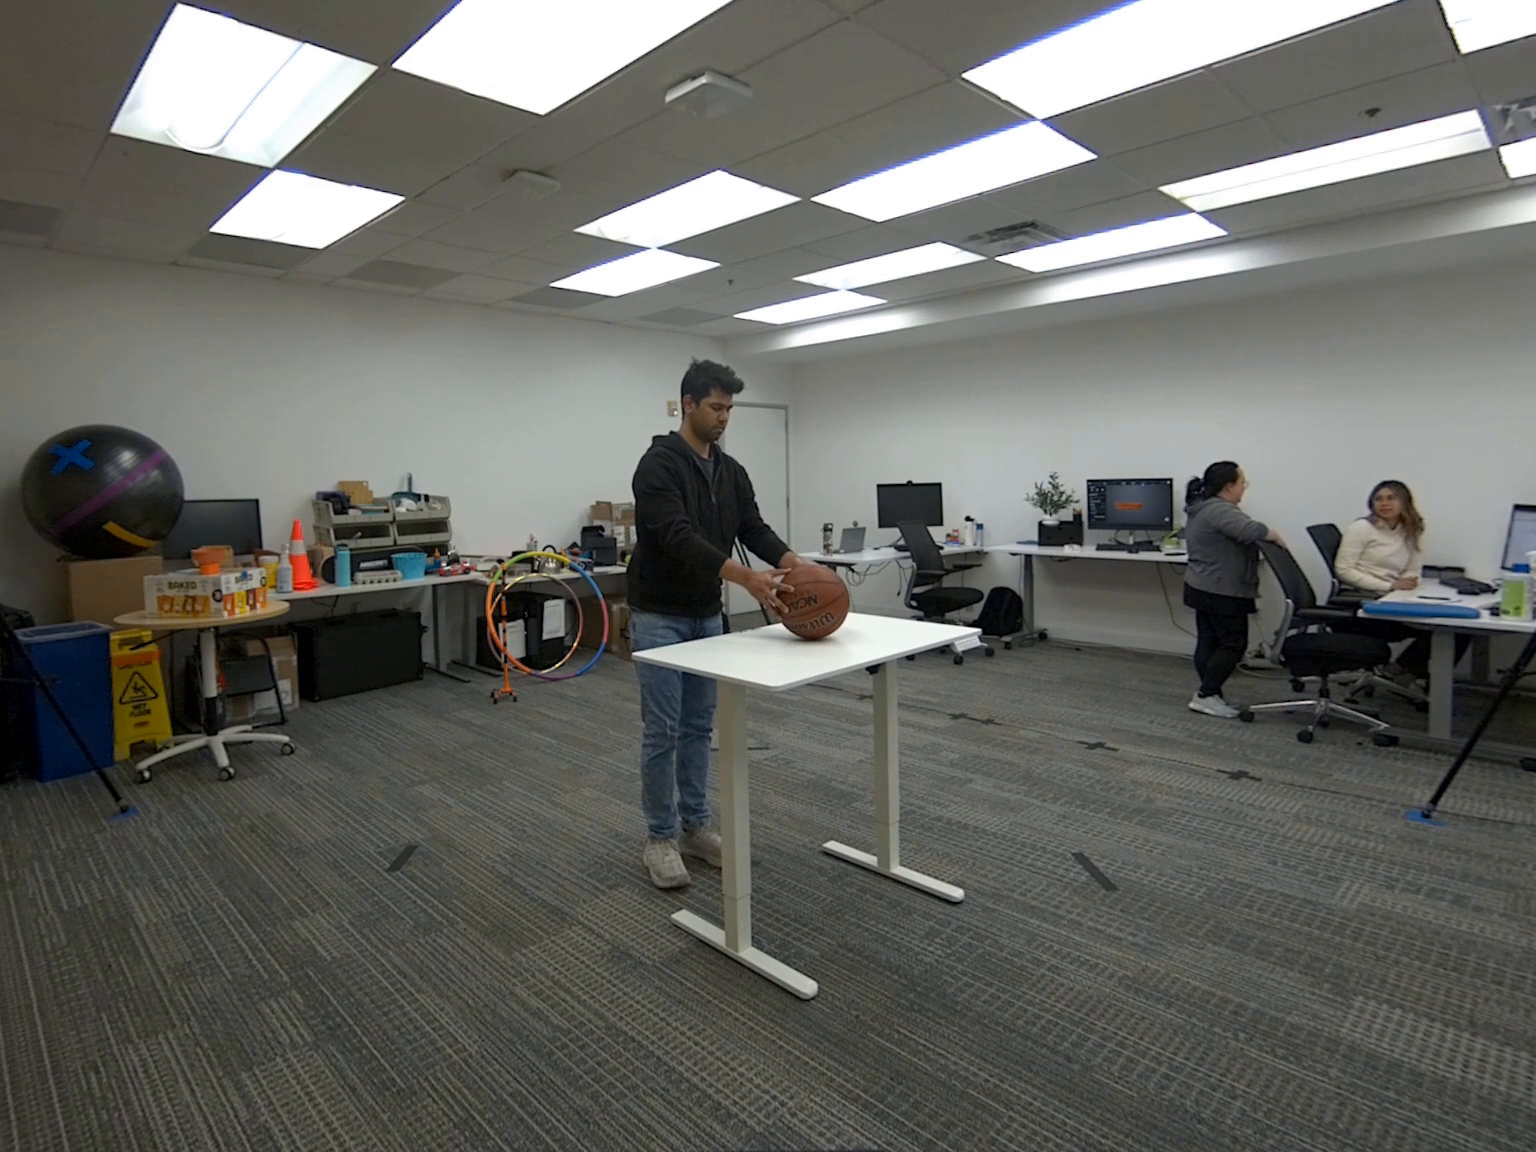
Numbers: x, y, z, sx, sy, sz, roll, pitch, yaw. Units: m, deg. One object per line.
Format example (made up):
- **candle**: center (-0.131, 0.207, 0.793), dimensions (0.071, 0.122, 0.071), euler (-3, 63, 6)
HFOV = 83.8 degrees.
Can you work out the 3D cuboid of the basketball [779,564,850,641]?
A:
- **basketball**: center (0.141, 0.074, 2.742), dimensions (0.236, 0.235, 0.237), euler (-1, 5, -2)
